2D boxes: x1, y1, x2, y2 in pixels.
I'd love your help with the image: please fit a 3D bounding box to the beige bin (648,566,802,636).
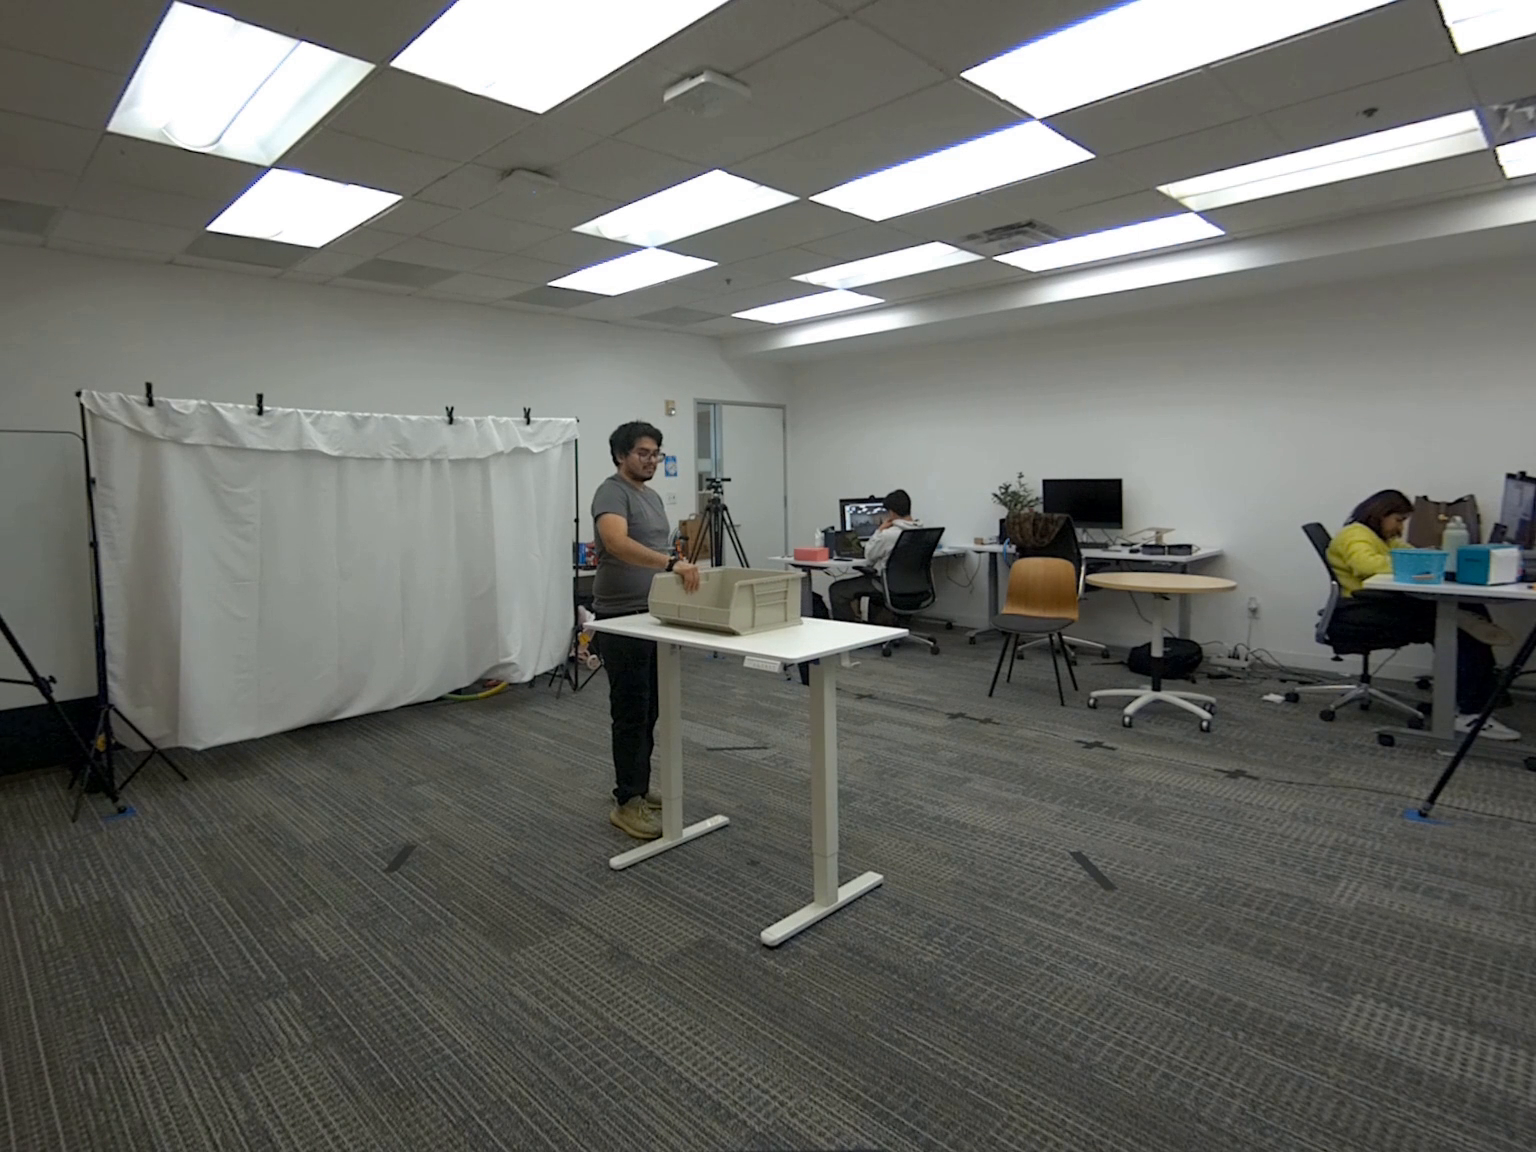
[{"bbox_3d":[-0.145,0.083,3.007,0.435,0.188,0.367,4,6,44],"label":"beige bin"}]
